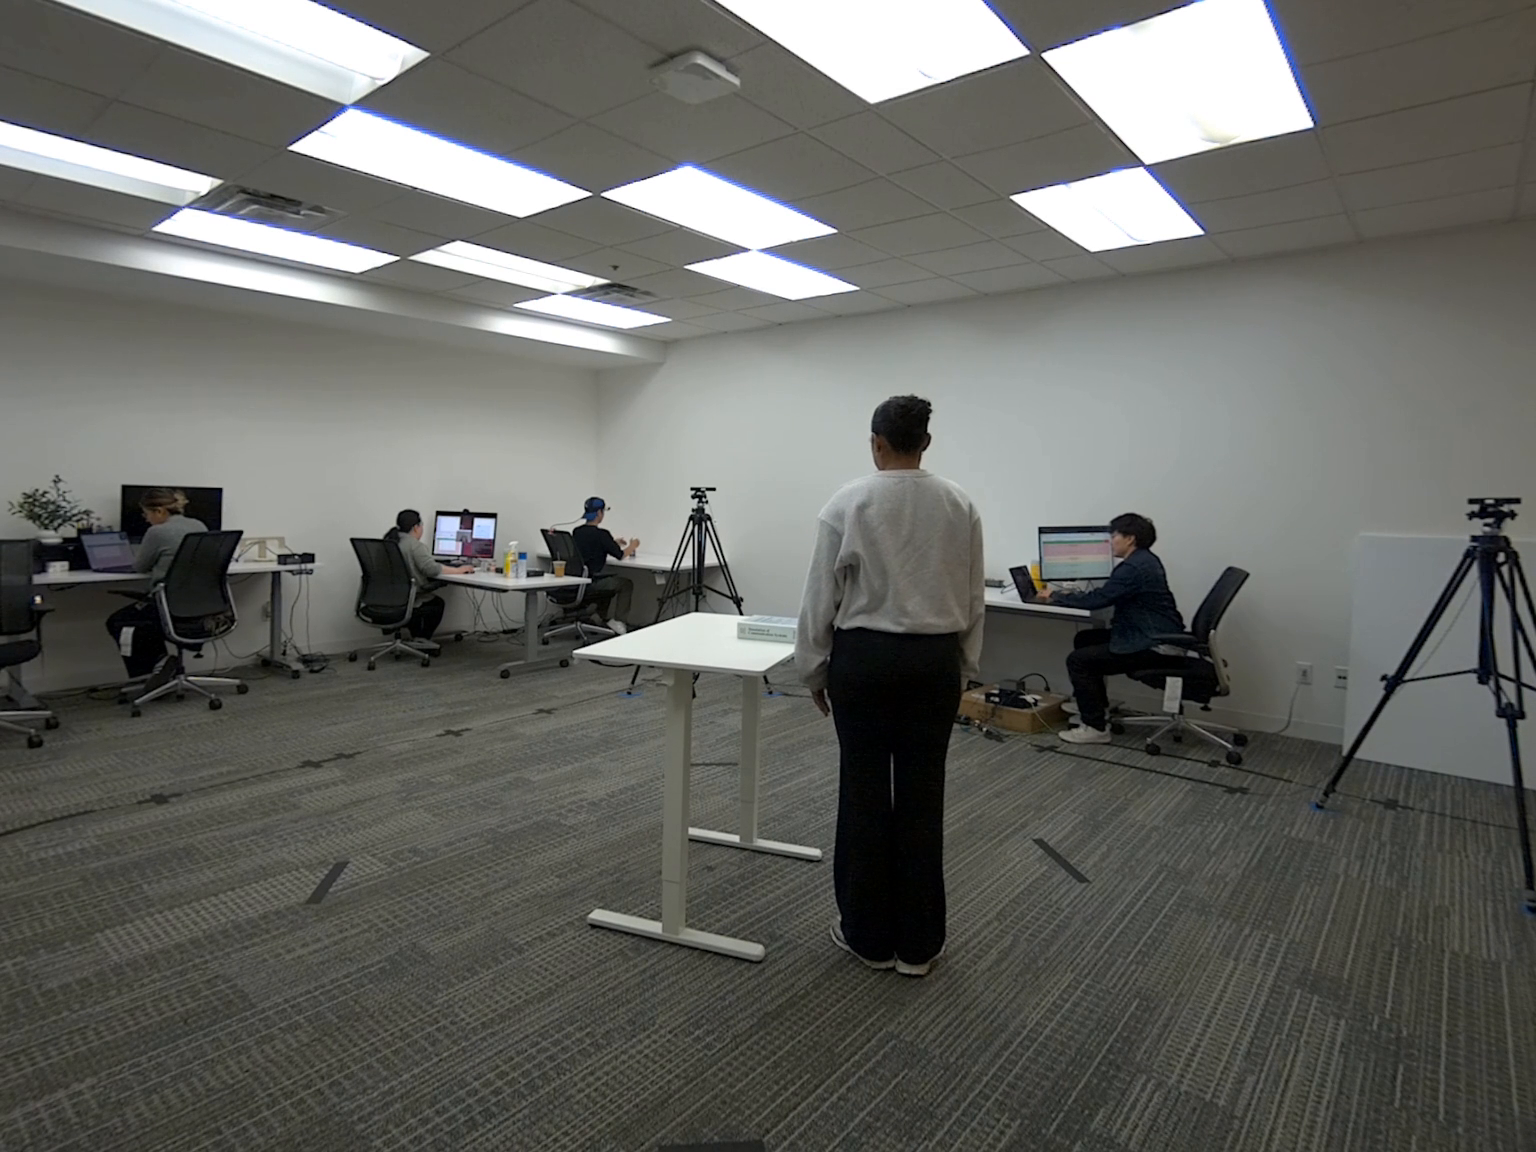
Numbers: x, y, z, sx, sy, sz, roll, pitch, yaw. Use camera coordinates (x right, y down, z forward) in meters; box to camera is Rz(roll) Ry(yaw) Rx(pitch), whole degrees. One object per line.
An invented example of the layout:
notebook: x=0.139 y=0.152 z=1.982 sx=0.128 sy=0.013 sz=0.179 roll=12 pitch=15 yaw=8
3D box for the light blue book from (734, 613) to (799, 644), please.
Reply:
light blue book: x=0.040 y=0.180 z=2.913 sx=0.267 sy=0.059 sz=0.188 roll=3 pitch=6 yaw=21
